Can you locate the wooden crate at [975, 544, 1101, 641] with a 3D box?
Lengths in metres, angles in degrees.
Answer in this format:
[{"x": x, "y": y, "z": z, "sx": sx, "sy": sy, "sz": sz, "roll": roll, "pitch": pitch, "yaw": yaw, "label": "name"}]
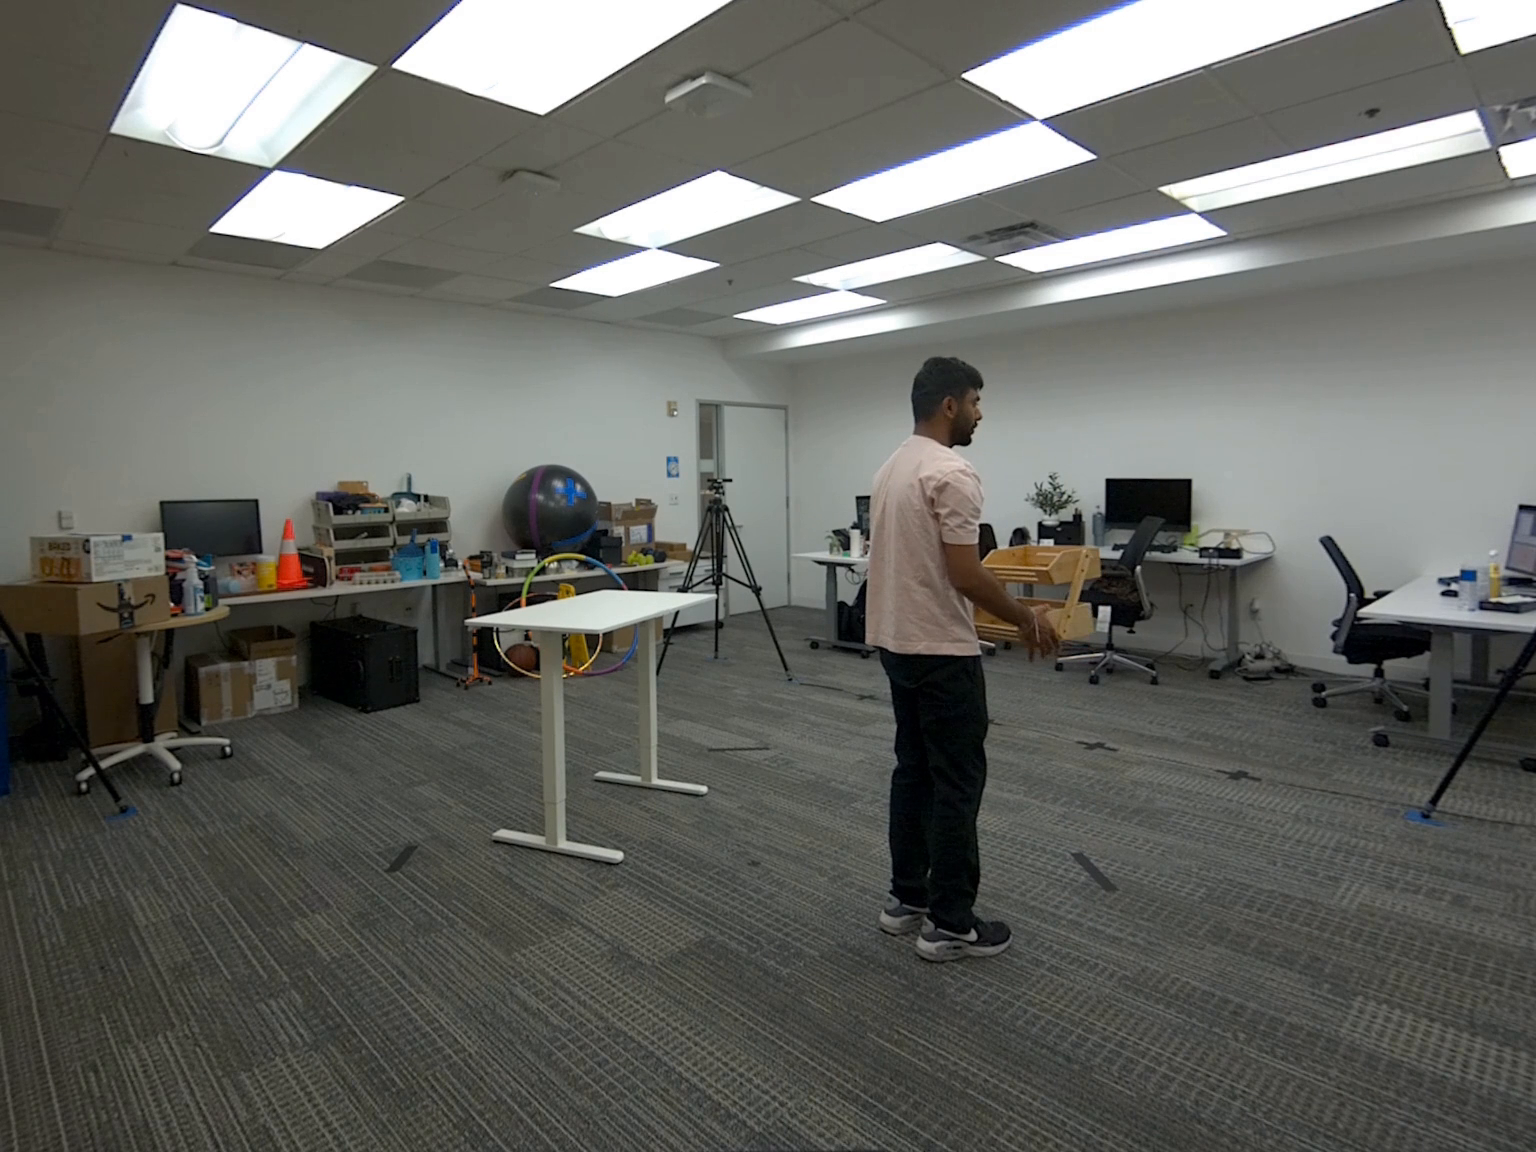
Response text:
[{"x": 0.819, "y": 0.050, "z": 2.665, "sx": 0.296, "sy": 0.272, "sz": 0.332, "roll": -6, "pitch": 5, "yaw": -26, "label": "wooden crate"}]
